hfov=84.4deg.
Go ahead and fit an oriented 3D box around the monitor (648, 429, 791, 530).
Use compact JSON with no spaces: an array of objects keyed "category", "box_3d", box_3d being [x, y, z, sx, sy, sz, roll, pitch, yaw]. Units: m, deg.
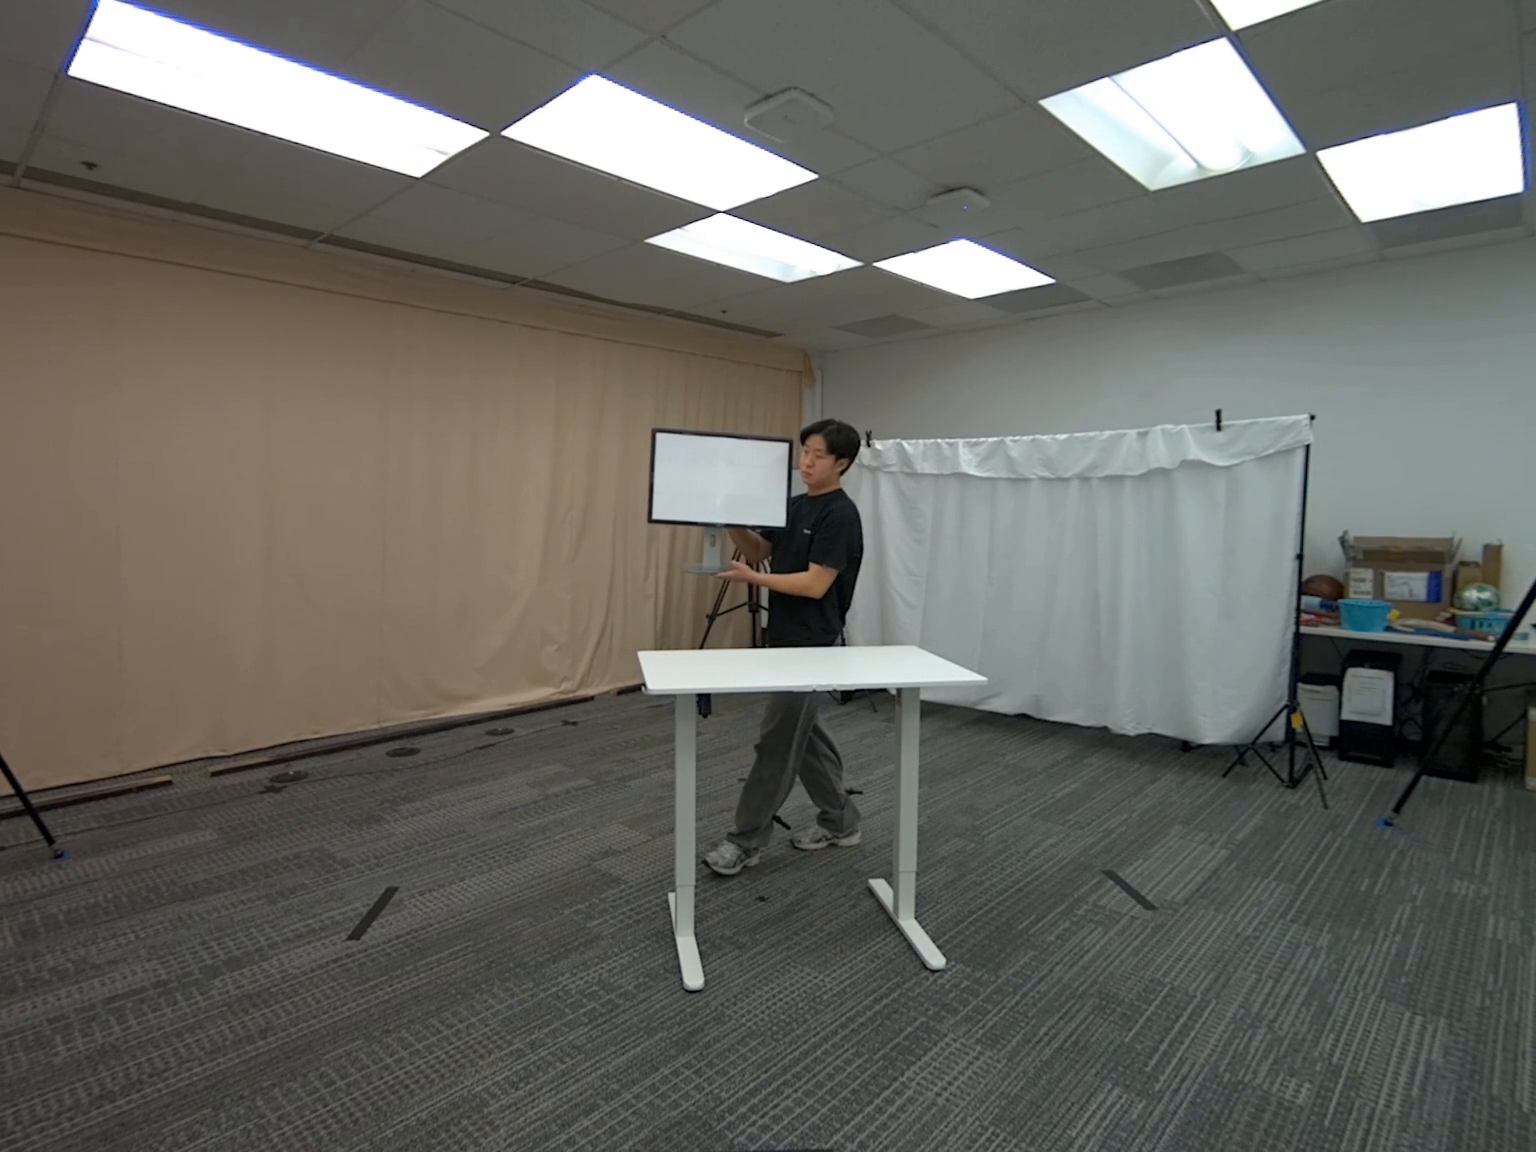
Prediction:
[{"category":"monitor","box_3d":[-0.192,-0.277,3.277,0.557,0.562,0.225,3,11,-8]}]
